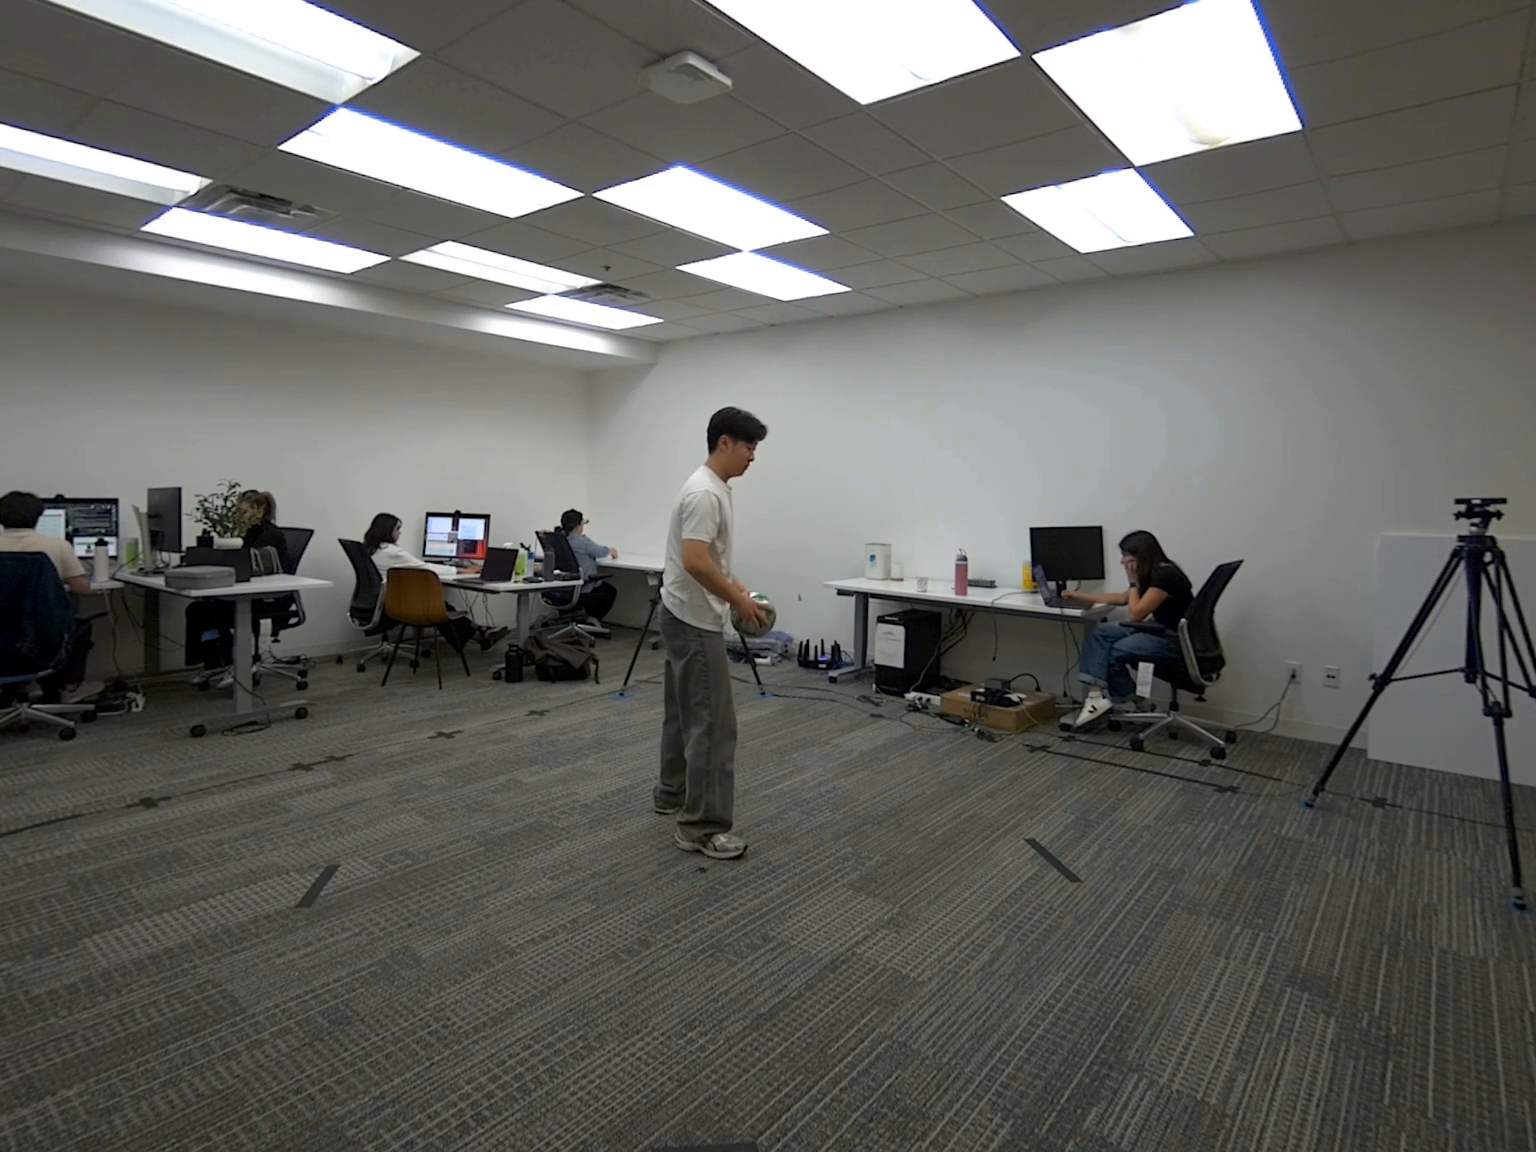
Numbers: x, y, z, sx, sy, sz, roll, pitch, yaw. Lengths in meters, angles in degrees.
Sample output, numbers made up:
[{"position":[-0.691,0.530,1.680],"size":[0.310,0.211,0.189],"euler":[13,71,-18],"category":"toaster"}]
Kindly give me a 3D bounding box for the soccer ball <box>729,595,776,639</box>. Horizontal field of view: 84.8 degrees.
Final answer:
[{"position":[-0.081,0.153,3.454],"size":[0.187,0.187,0.188],"euler":[1,4,-2],"category":"soccer ball"}]
